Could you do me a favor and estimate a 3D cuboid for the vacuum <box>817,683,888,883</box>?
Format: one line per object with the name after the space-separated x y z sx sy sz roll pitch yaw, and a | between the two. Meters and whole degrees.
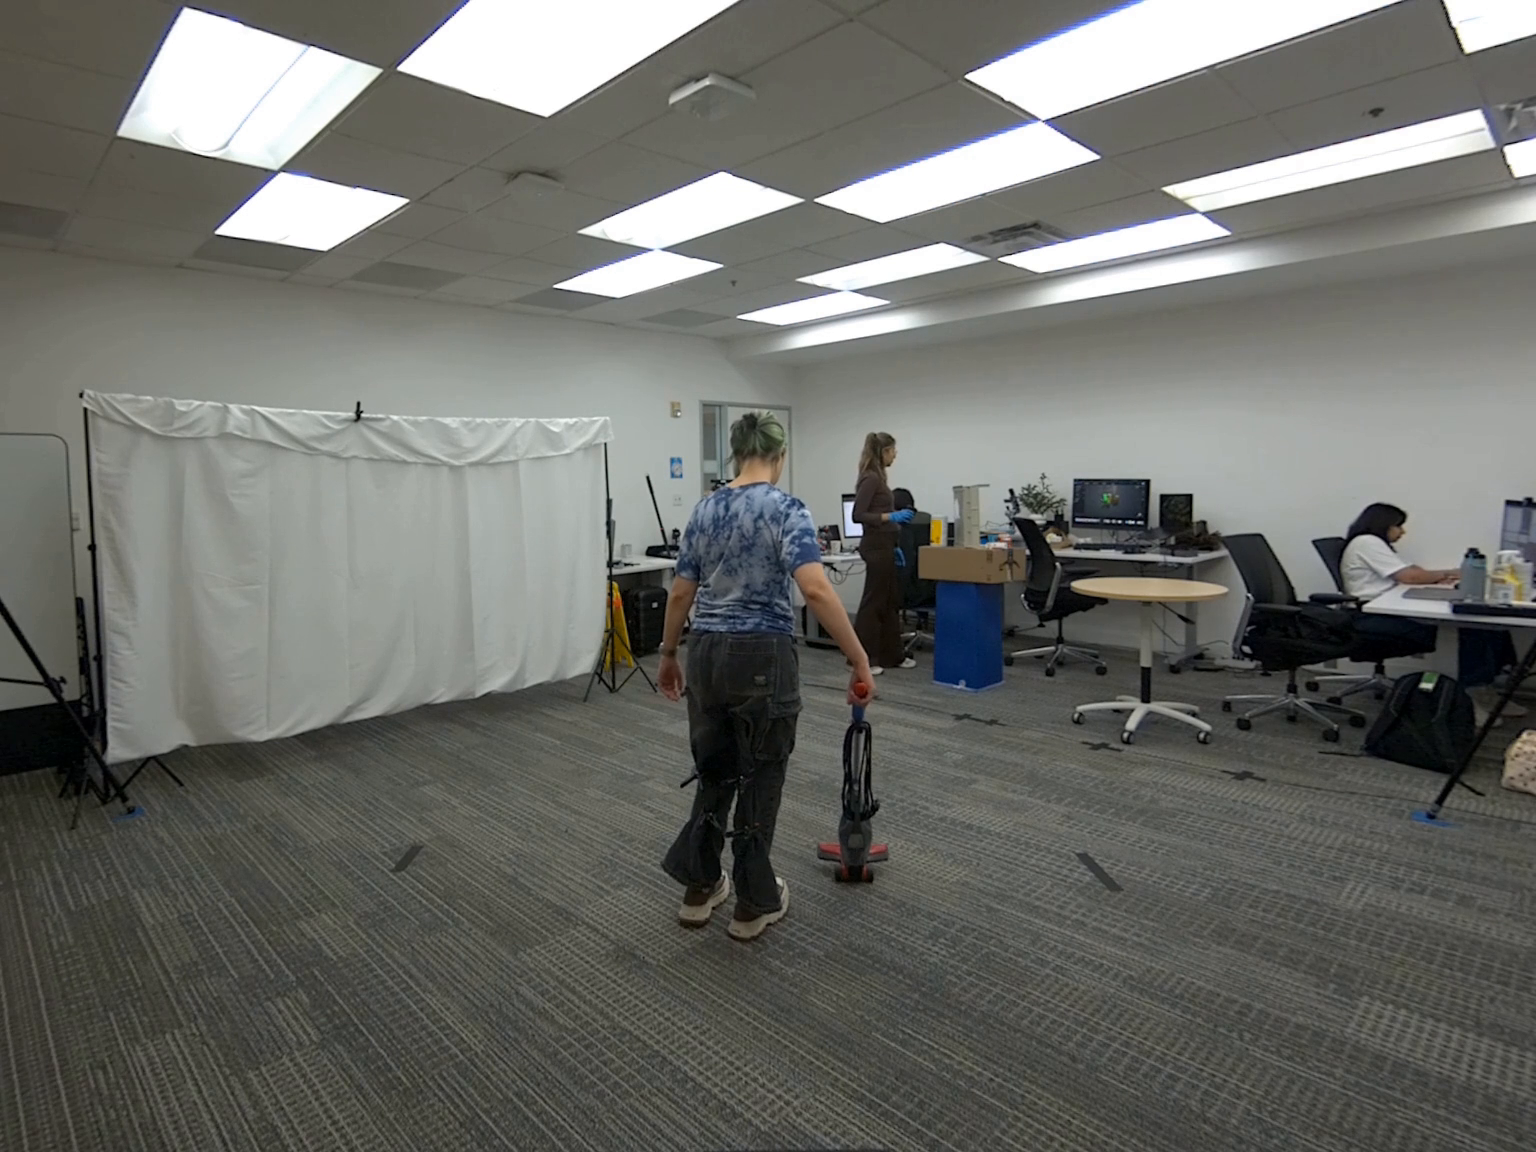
0.281 0.671 2.663 0.255 1.018 0.147 3 47 7 | vacuum
